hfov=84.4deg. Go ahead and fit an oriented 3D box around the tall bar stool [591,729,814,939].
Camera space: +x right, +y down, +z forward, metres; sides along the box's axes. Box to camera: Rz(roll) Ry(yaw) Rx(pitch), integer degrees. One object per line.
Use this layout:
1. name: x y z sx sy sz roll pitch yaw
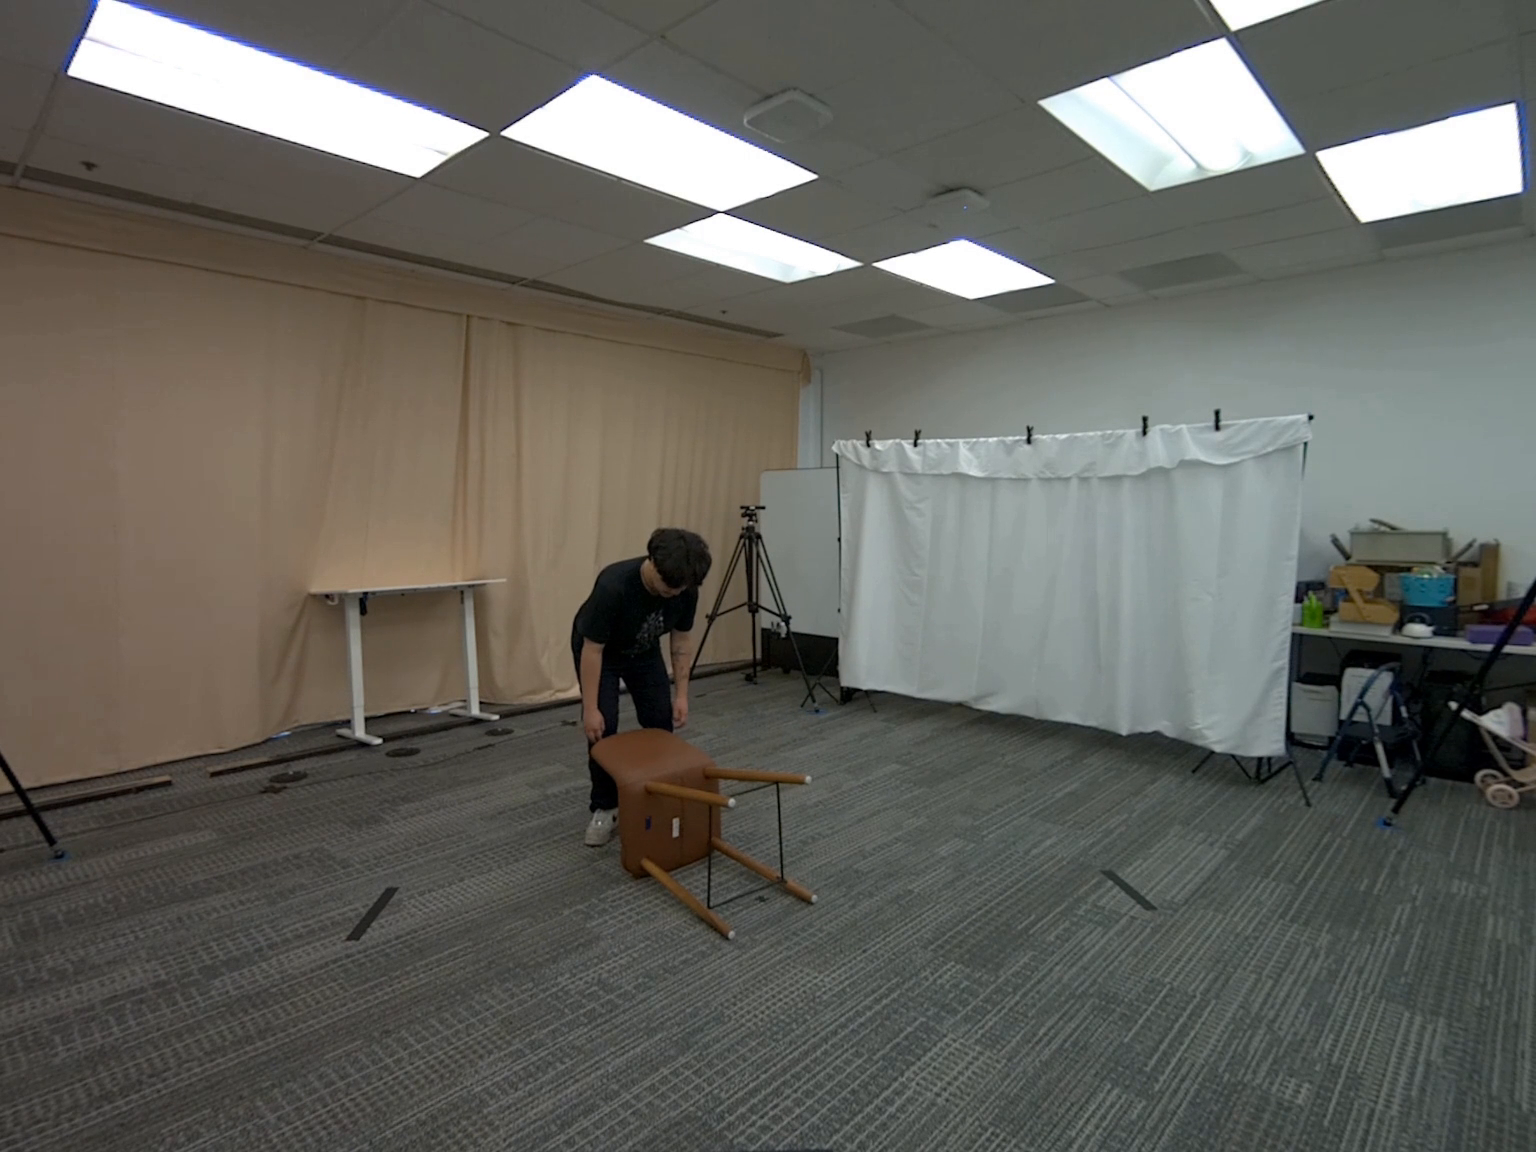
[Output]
1. tall bar stool: -0.273 0.904 3.150 0.443 0.466 0.920 -4 7 -41
